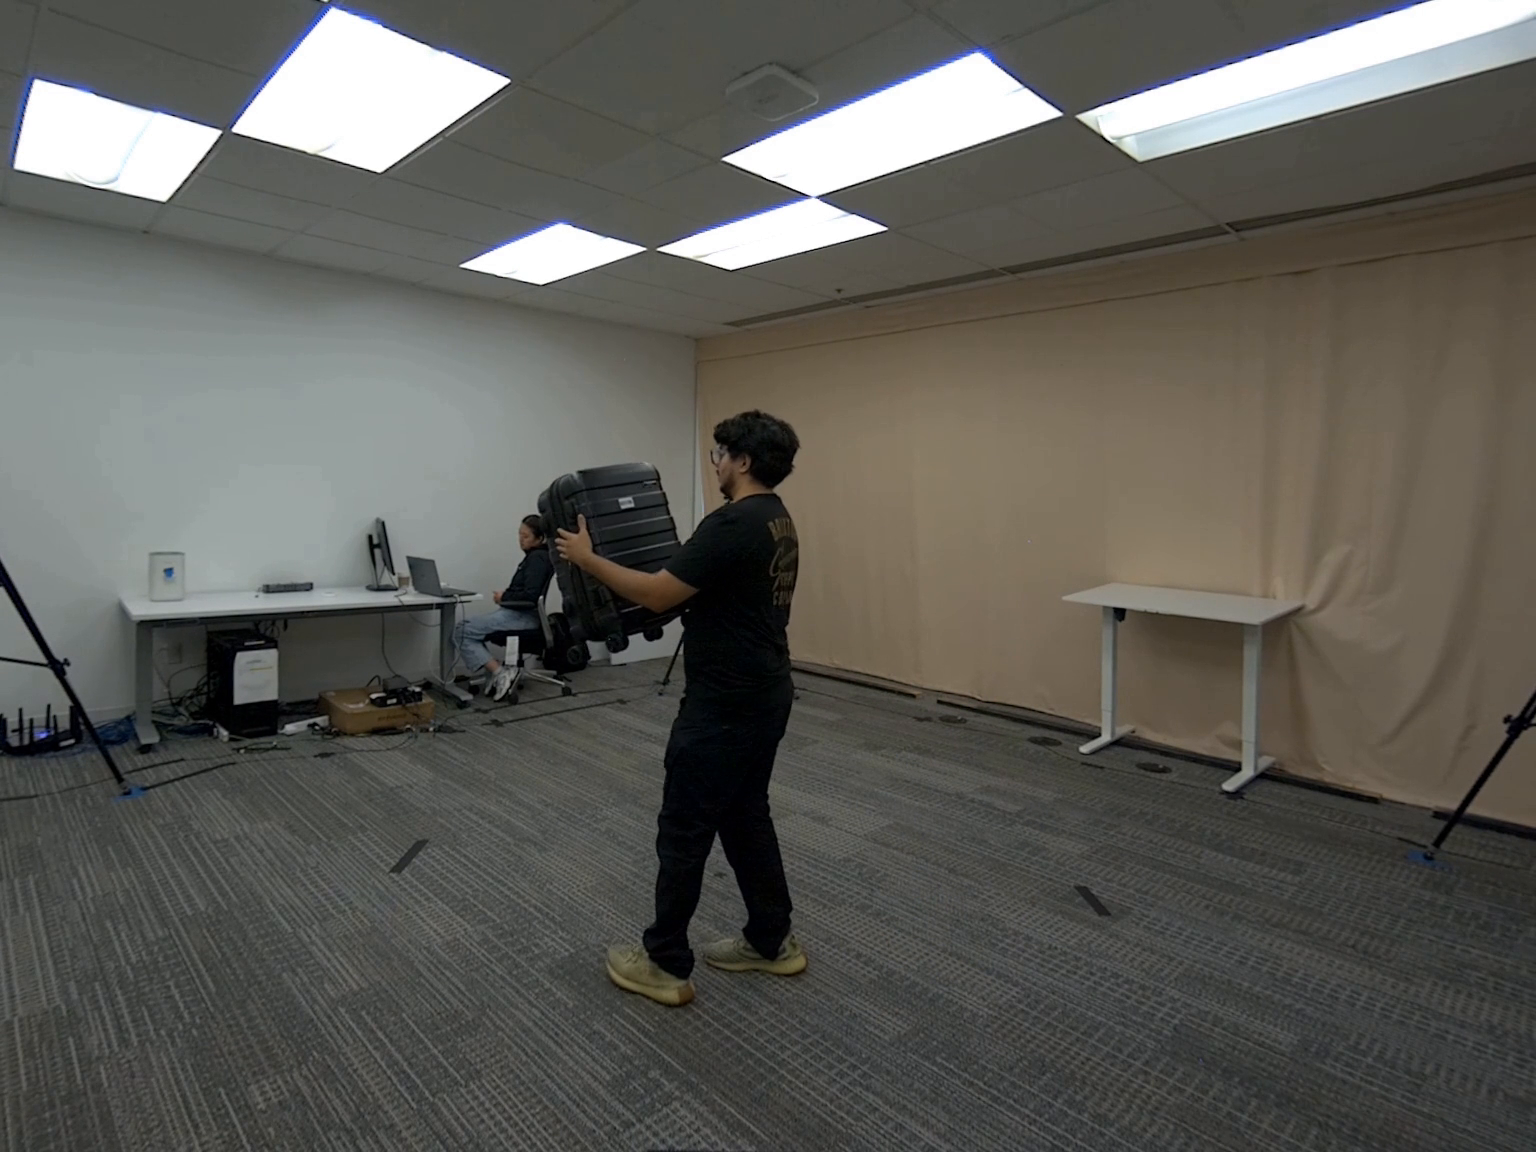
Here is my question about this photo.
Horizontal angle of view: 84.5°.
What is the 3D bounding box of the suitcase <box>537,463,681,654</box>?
[{"bbox_3d":[-0.458,-0.064,2.552,0.368,0.553,0.251,-11,-8,-43],"label":"suitcase"}]
